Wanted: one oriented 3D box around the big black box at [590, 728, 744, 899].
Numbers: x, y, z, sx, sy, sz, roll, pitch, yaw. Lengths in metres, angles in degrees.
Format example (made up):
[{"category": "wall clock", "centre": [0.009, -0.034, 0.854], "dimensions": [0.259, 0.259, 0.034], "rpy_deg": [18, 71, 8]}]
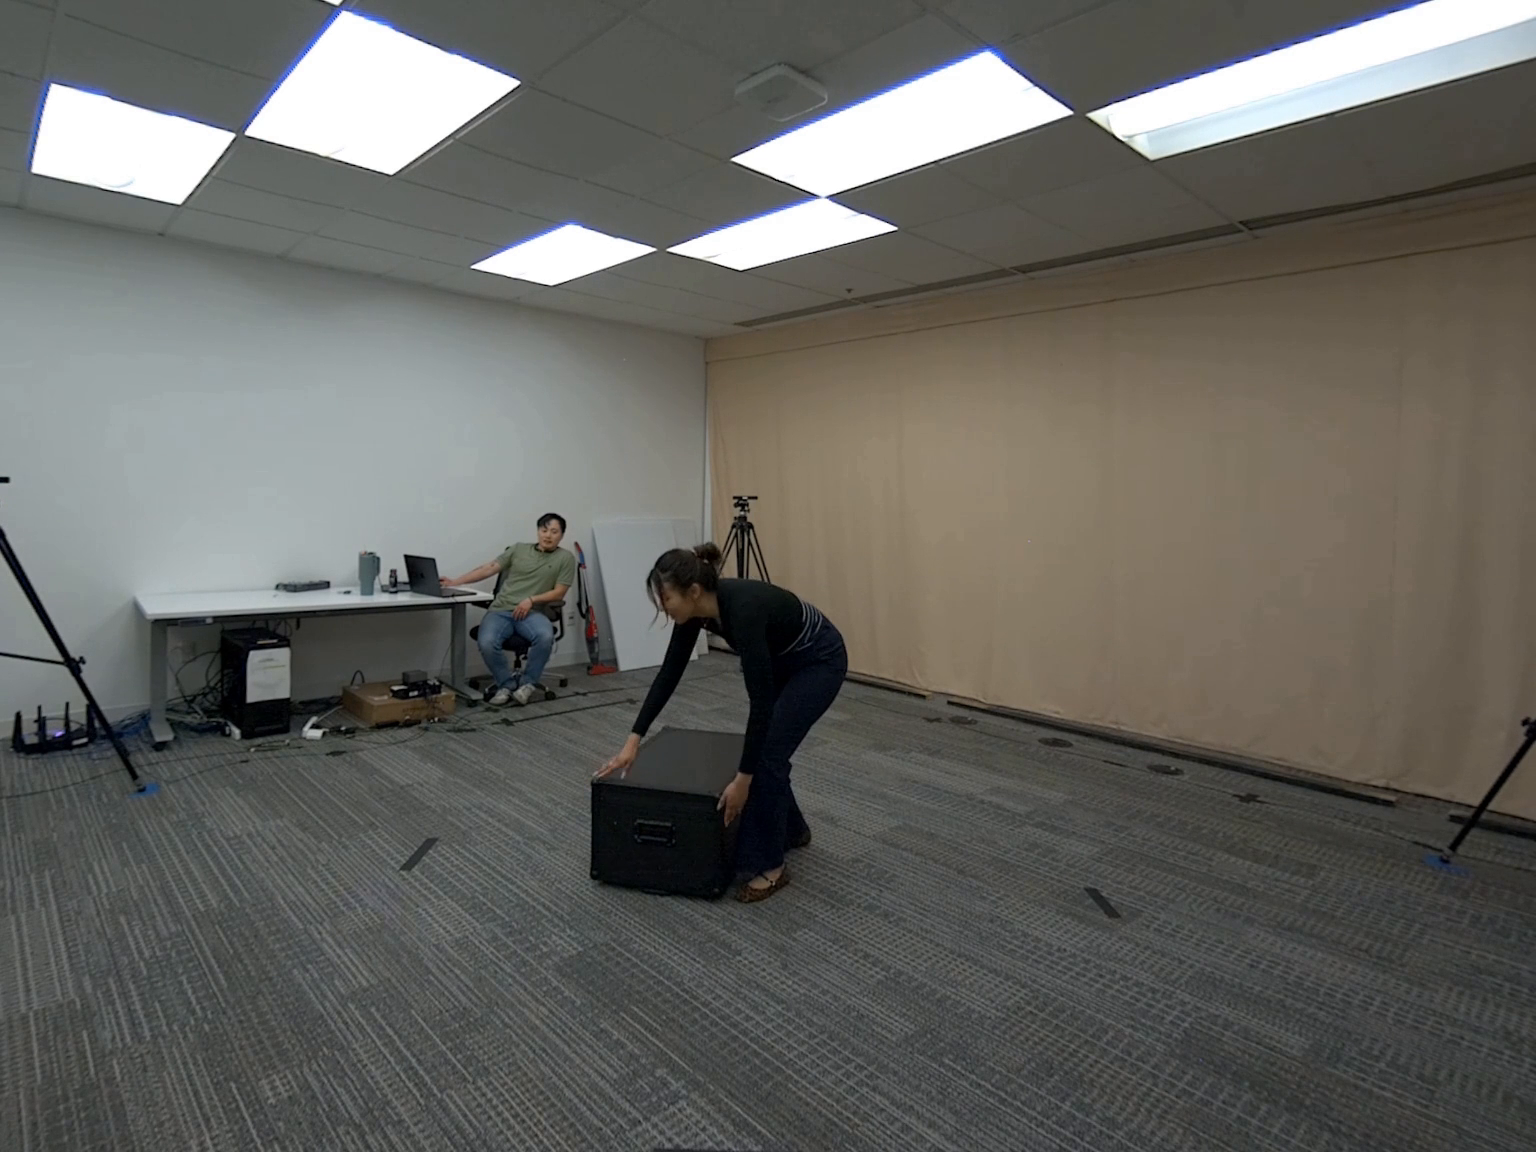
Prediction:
[{"category": "big black box", "centre": [-0.303, 0.881, 3.323], "dimensions": [0.527, 0.395, 0.855], "rpy_deg": [2, 6, 13]}]
